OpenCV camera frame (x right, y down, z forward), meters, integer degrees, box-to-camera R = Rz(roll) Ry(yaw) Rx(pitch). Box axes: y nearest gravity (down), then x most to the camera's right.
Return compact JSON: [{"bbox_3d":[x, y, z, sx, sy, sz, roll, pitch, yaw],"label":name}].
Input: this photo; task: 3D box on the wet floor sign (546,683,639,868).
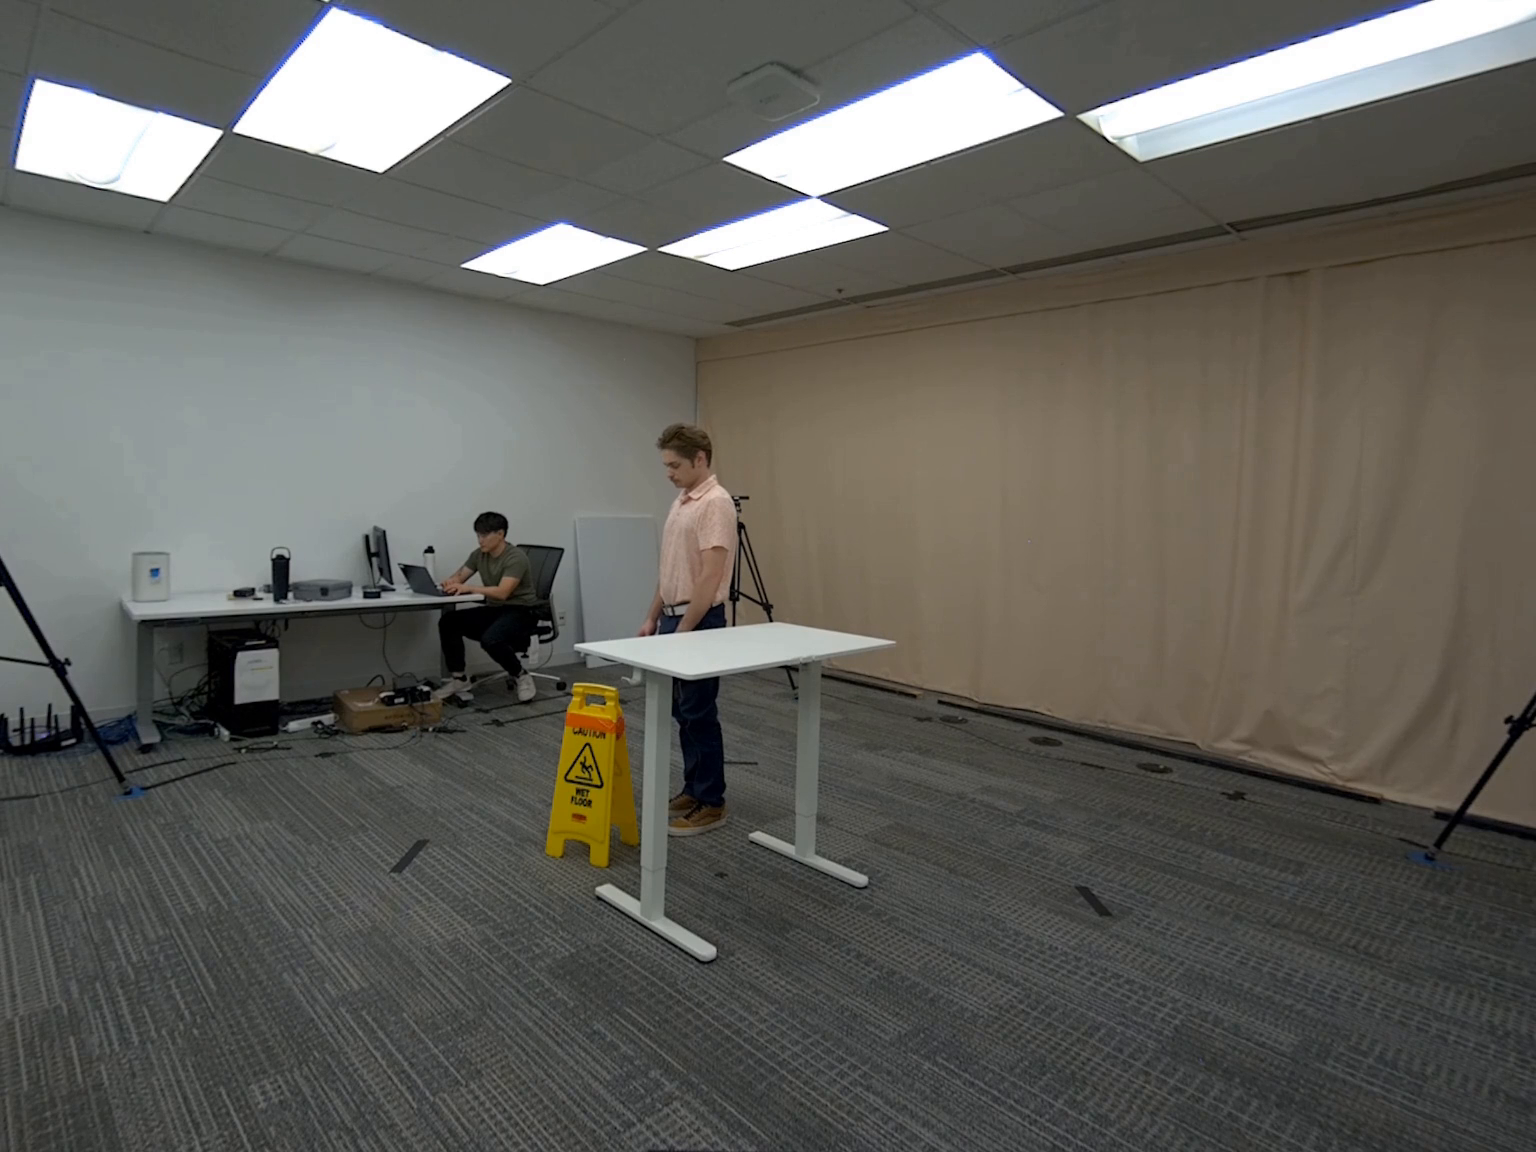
[{"bbox_3d":[-0.684,0.751,3.288,0.287,0.644,0.285,3,3,20],"label":"wet floor sign"}]
